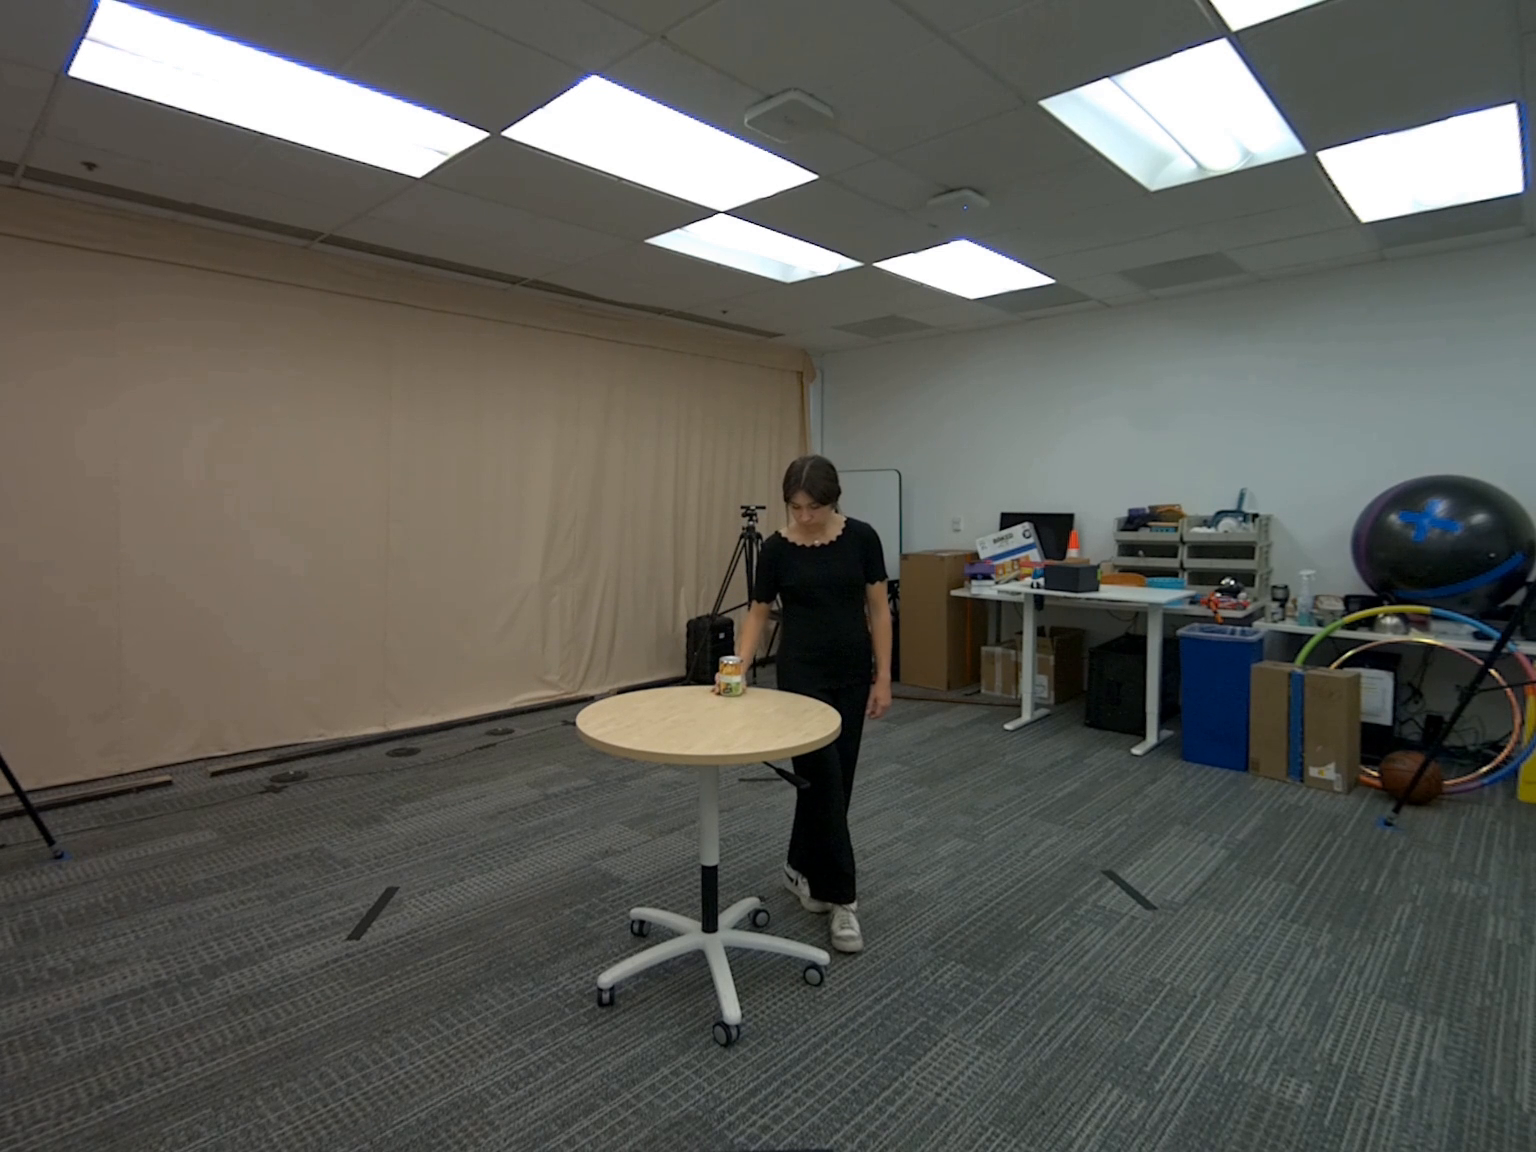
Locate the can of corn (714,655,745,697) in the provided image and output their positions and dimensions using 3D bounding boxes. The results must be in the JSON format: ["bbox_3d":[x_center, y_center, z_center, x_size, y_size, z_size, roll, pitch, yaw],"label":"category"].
[{"bbox_3d":[-0.106,0.321,2.700,0.074,0.111,0.074,-1,5,-2],"label":"can of corn"}]
